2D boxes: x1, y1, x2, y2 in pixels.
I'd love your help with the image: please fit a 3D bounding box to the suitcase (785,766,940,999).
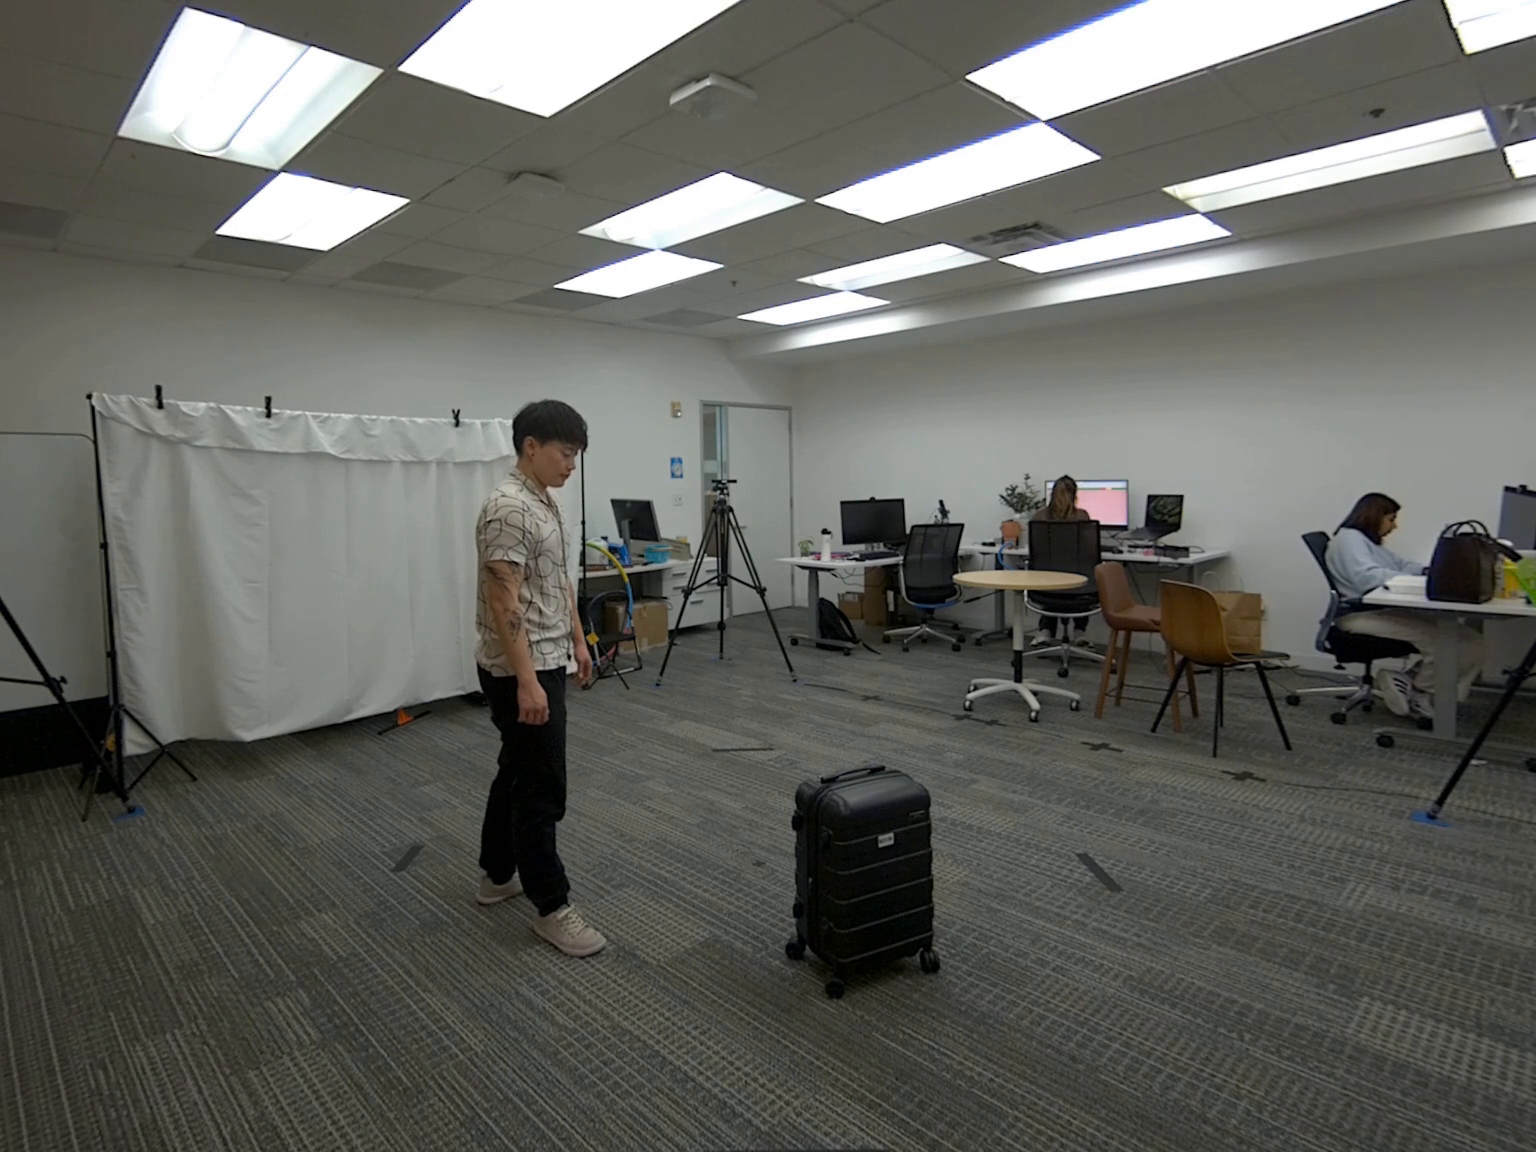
[{"bbox_3d":[0.275,0.837,2.452,0.367,0.547,0.255,-3,5,-26],"label":"suitcase"}]
